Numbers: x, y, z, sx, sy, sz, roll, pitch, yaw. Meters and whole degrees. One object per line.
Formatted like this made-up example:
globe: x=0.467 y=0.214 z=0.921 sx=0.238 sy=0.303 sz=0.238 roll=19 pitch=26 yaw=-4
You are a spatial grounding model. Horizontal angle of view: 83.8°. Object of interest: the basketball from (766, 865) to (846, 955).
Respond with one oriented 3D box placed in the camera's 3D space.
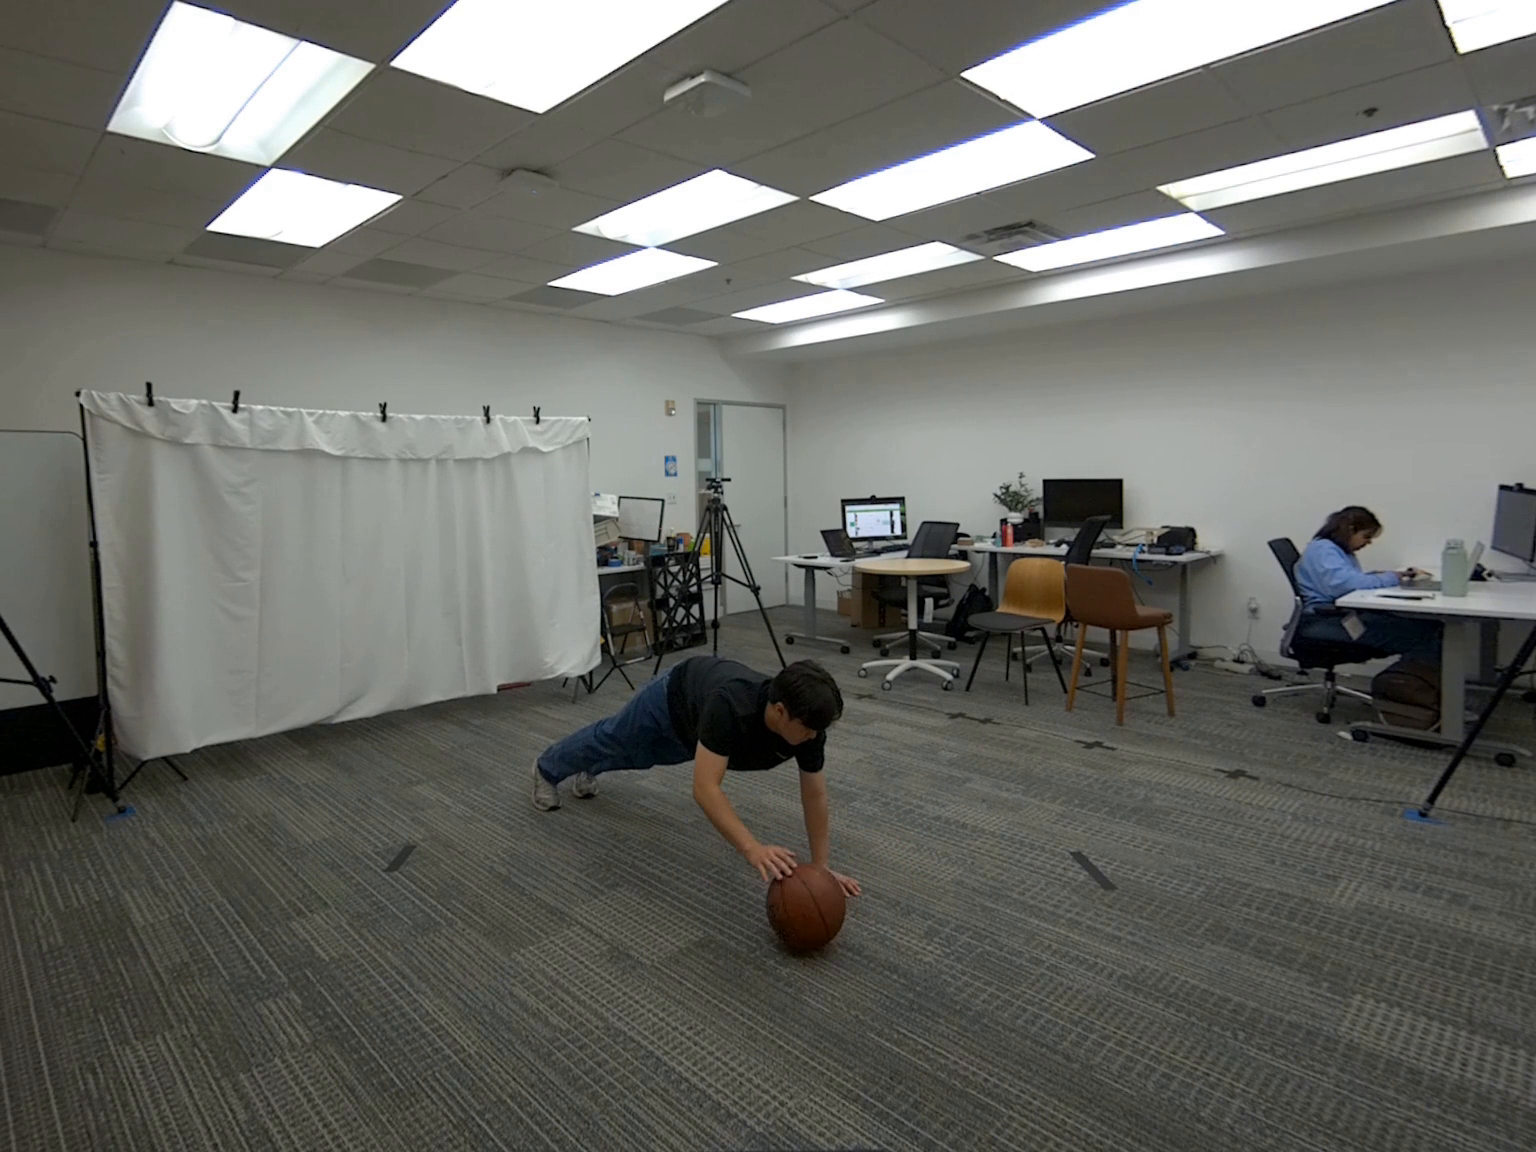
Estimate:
basketball: x=0.115 y=0.980 z=2.555 sx=0.236 sy=0.235 sz=0.237 roll=-1 pitch=5 yaw=-2
